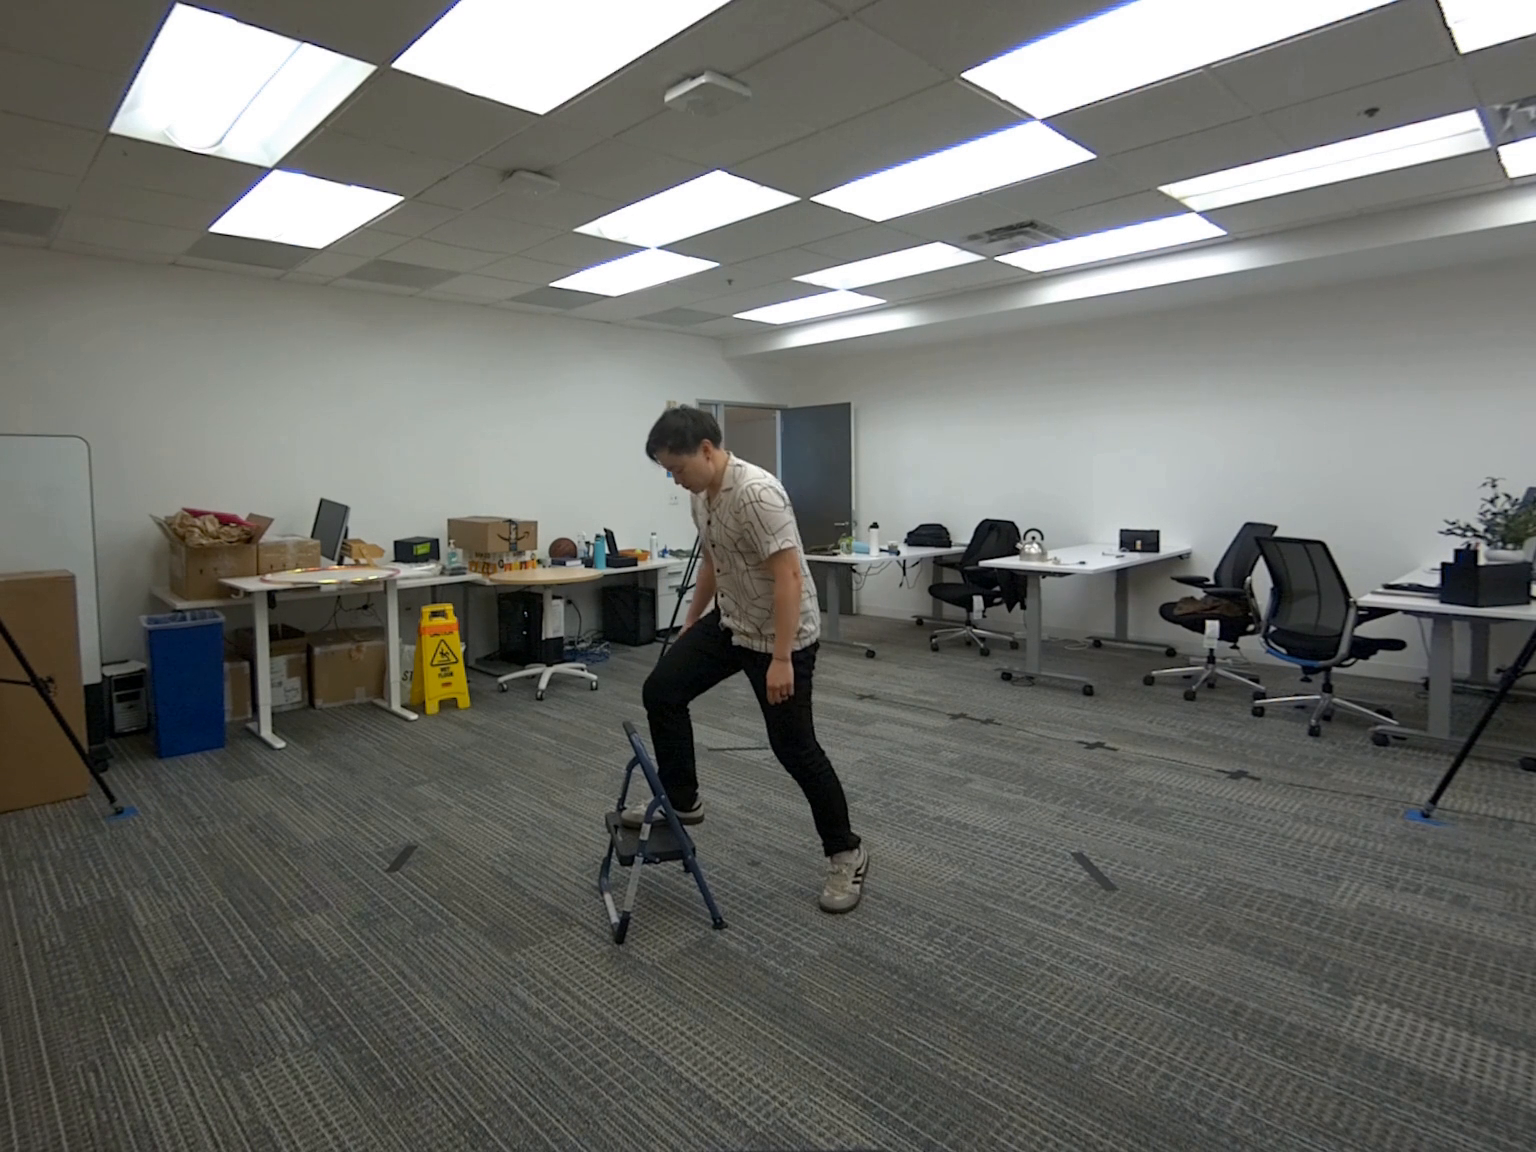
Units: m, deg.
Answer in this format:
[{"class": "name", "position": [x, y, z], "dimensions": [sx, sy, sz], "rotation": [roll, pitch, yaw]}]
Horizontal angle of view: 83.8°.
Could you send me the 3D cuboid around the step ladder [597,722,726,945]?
[{"class": "step ladder", "position": [-0.366, 0.786, 2.798], "dimensions": [0.344, 0.604, 0.439], "rotation": [-3, 5, -18]}]
